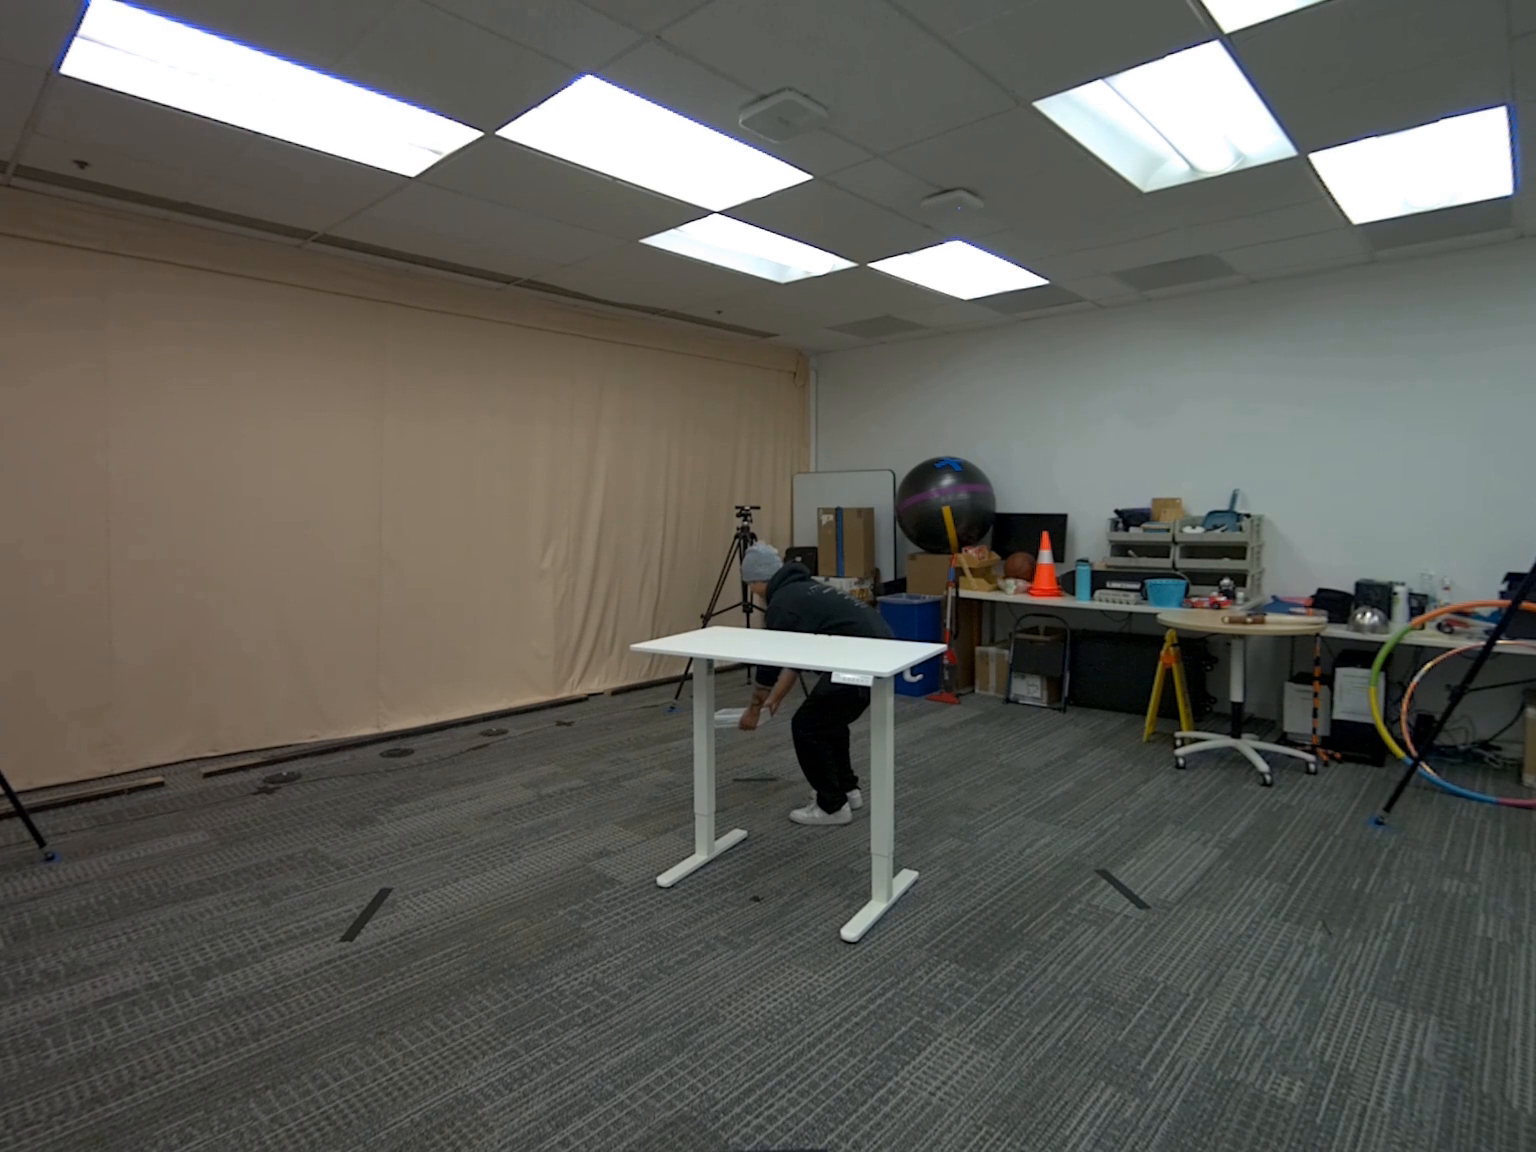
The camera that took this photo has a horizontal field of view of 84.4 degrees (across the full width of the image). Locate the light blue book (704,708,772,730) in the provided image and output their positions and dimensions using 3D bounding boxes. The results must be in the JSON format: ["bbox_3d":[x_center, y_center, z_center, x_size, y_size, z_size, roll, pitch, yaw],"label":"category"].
[{"bbox_3d":[-0.146,0.683,4.064,0.267,0.059,0.187,-6,1,26],"label":"light blue book"}]
